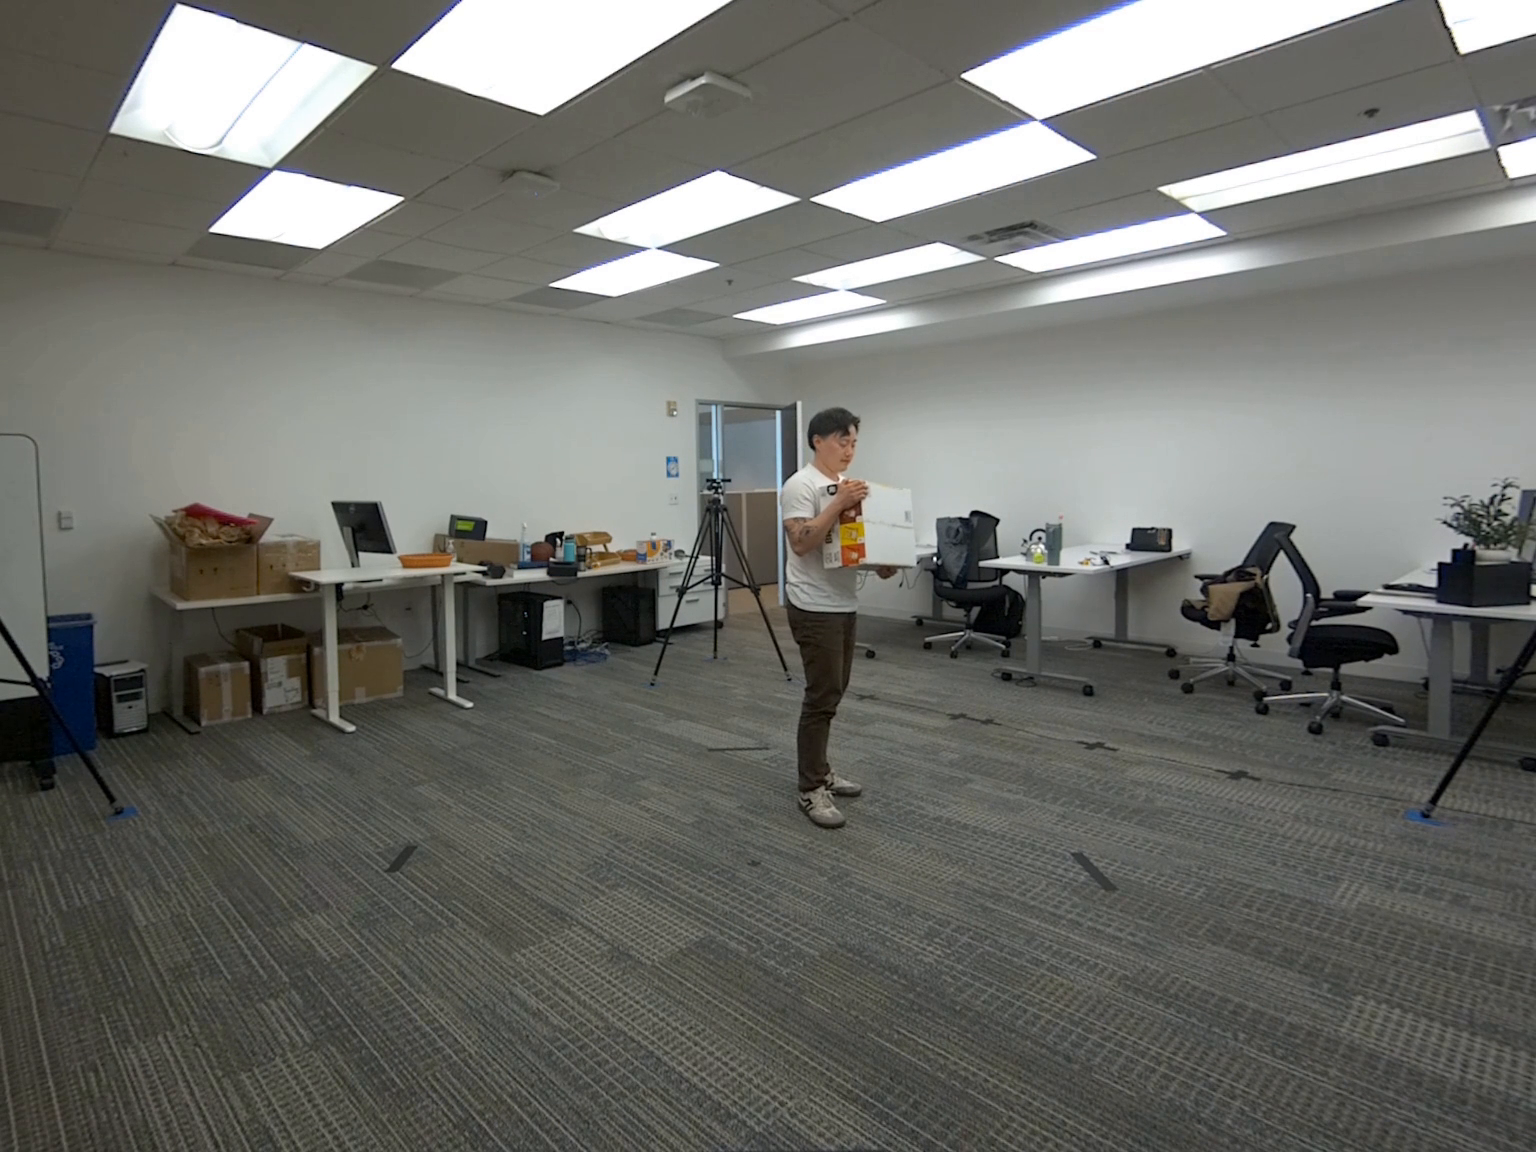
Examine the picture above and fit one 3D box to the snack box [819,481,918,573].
[{"bbox_3d":[0.413,-0.199,3.567,0.211,0.342,0.393,-8,-7,41],"label":"snack box"}]
